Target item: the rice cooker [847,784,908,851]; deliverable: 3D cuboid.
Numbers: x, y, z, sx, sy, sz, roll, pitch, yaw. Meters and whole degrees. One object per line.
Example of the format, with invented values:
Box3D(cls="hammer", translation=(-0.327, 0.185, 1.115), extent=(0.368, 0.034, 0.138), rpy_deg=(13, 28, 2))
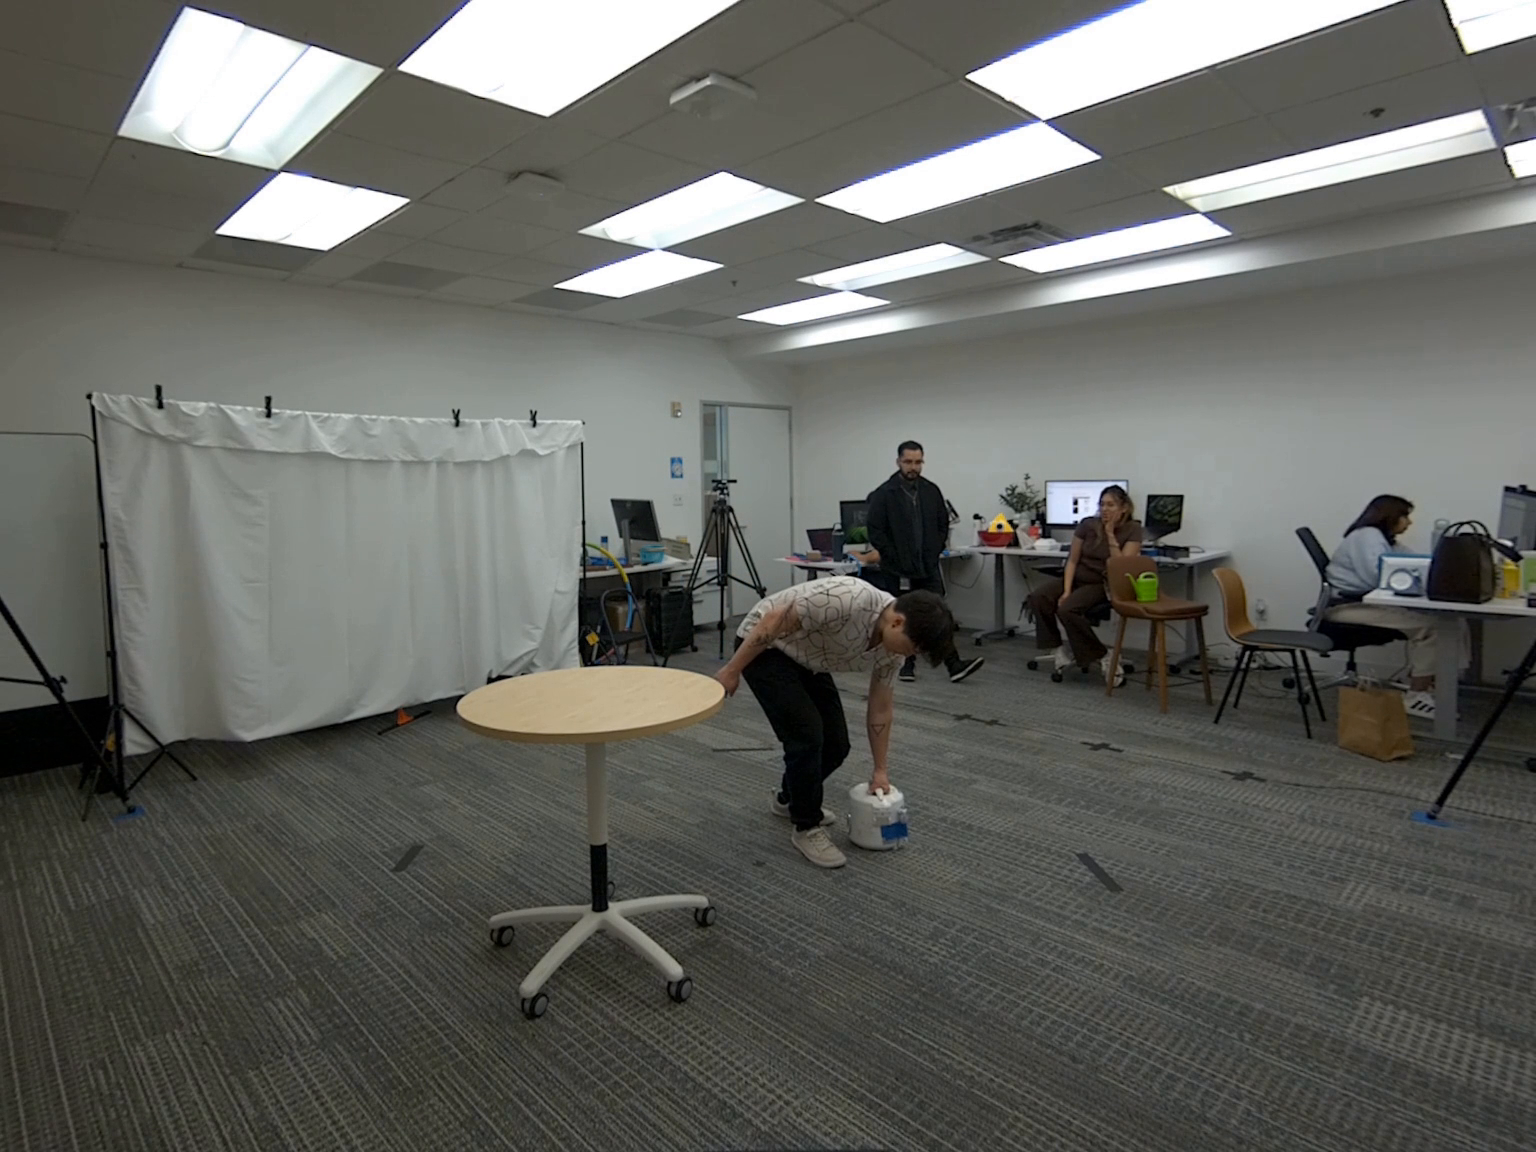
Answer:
Box3D(cls="rice cooker", translation=(0.410, 0.902, 3.267), extent=(0.217, 0.232, 0.222), rpy_deg=(-1, 5, -4))
